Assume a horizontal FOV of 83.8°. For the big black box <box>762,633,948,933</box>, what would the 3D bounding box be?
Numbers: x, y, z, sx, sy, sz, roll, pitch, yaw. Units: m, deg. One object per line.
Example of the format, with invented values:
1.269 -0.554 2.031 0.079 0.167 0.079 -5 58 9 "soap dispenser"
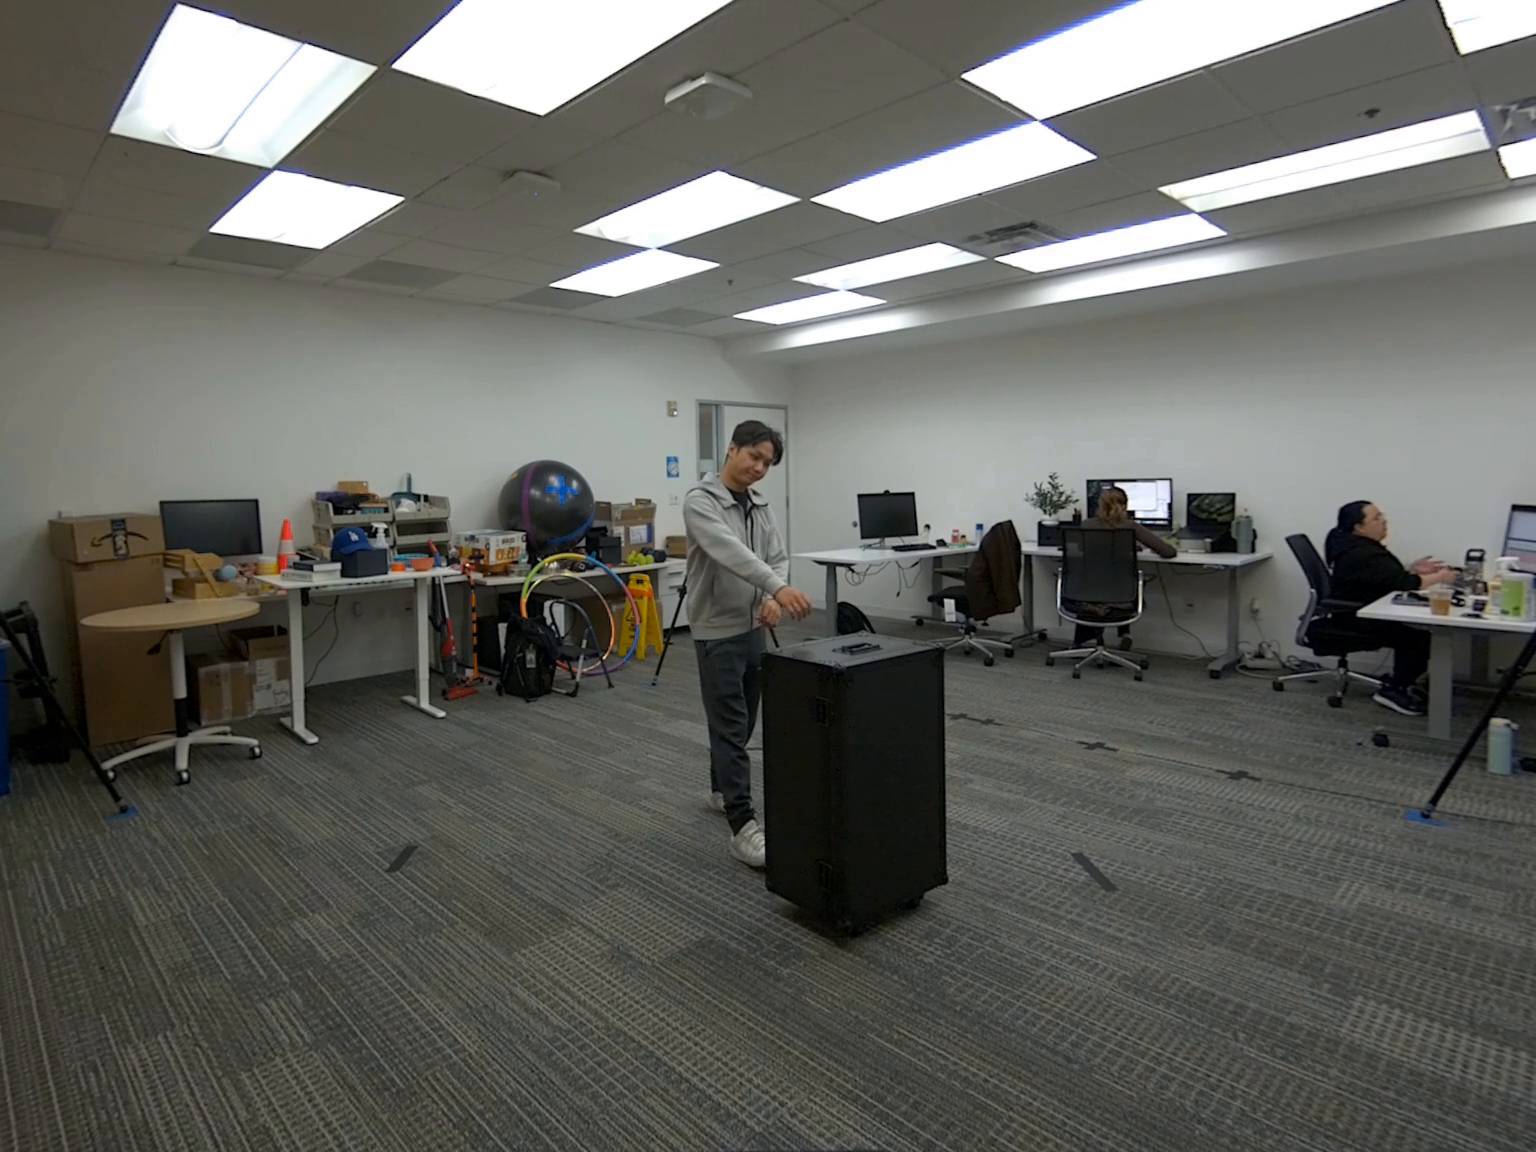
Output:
0.272 0.657 2.759 0.508 0.859 0.408 -5 4 -39 "big black box"
